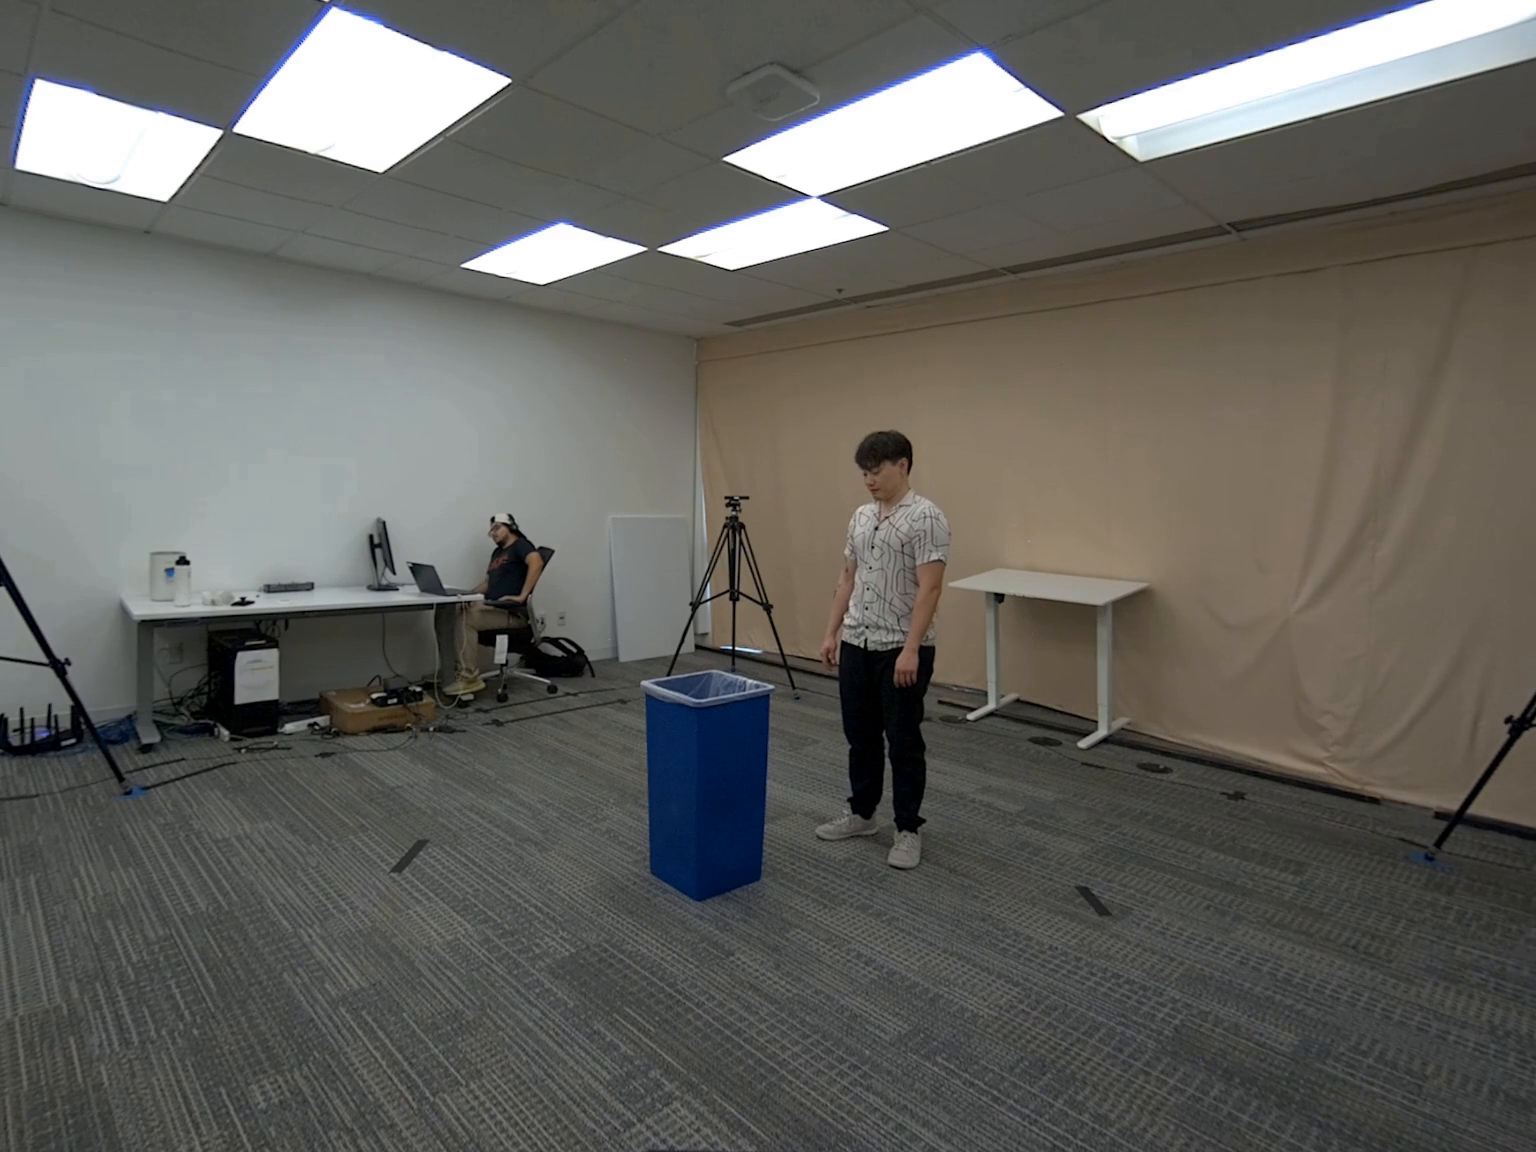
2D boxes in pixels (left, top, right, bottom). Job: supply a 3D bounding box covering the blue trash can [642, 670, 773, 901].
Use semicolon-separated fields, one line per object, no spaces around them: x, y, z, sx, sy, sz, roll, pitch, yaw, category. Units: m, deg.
-0.240;0.746;3.076;0.369;0.711;0.384;-3;5;-42;blue trash can
